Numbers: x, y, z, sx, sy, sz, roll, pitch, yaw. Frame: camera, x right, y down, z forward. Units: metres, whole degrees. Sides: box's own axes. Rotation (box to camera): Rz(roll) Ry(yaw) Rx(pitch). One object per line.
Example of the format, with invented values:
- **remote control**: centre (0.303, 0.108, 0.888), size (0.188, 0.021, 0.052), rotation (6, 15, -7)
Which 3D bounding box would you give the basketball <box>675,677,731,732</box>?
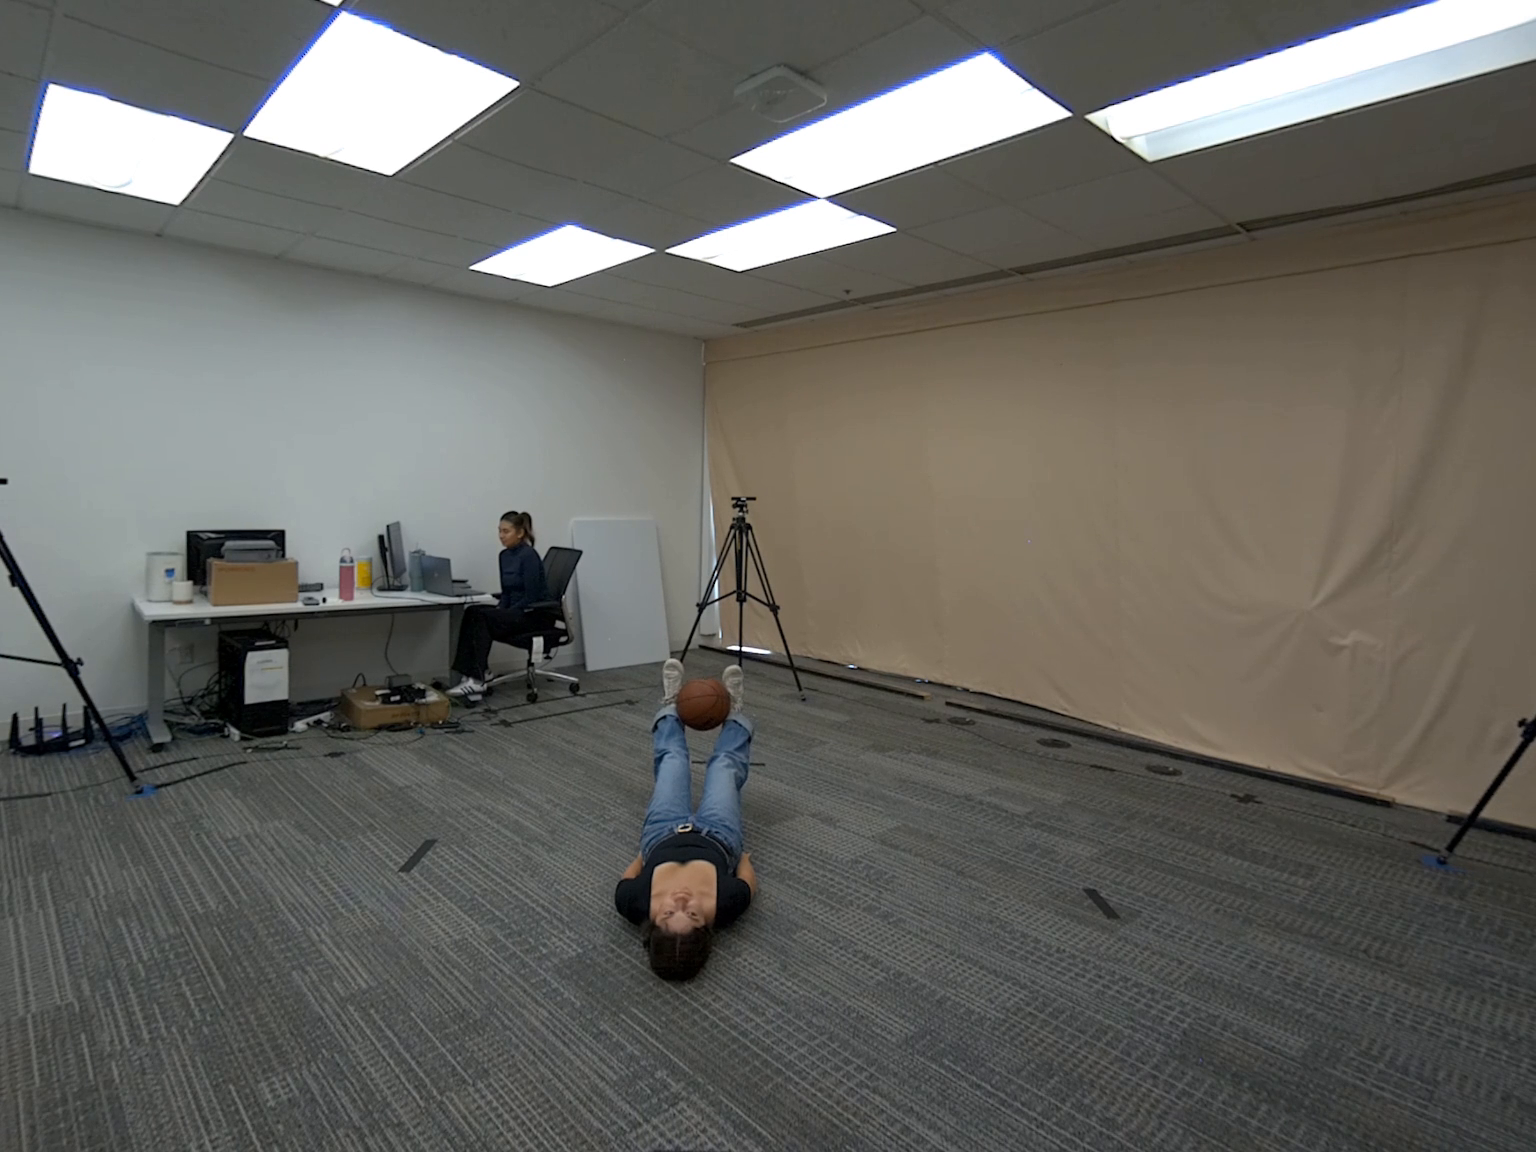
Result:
- **basketball**: centre (-0.299, 0.571, 3.757), size (0.236, 0.235, 0.237), rotation (1, 4, -1)
